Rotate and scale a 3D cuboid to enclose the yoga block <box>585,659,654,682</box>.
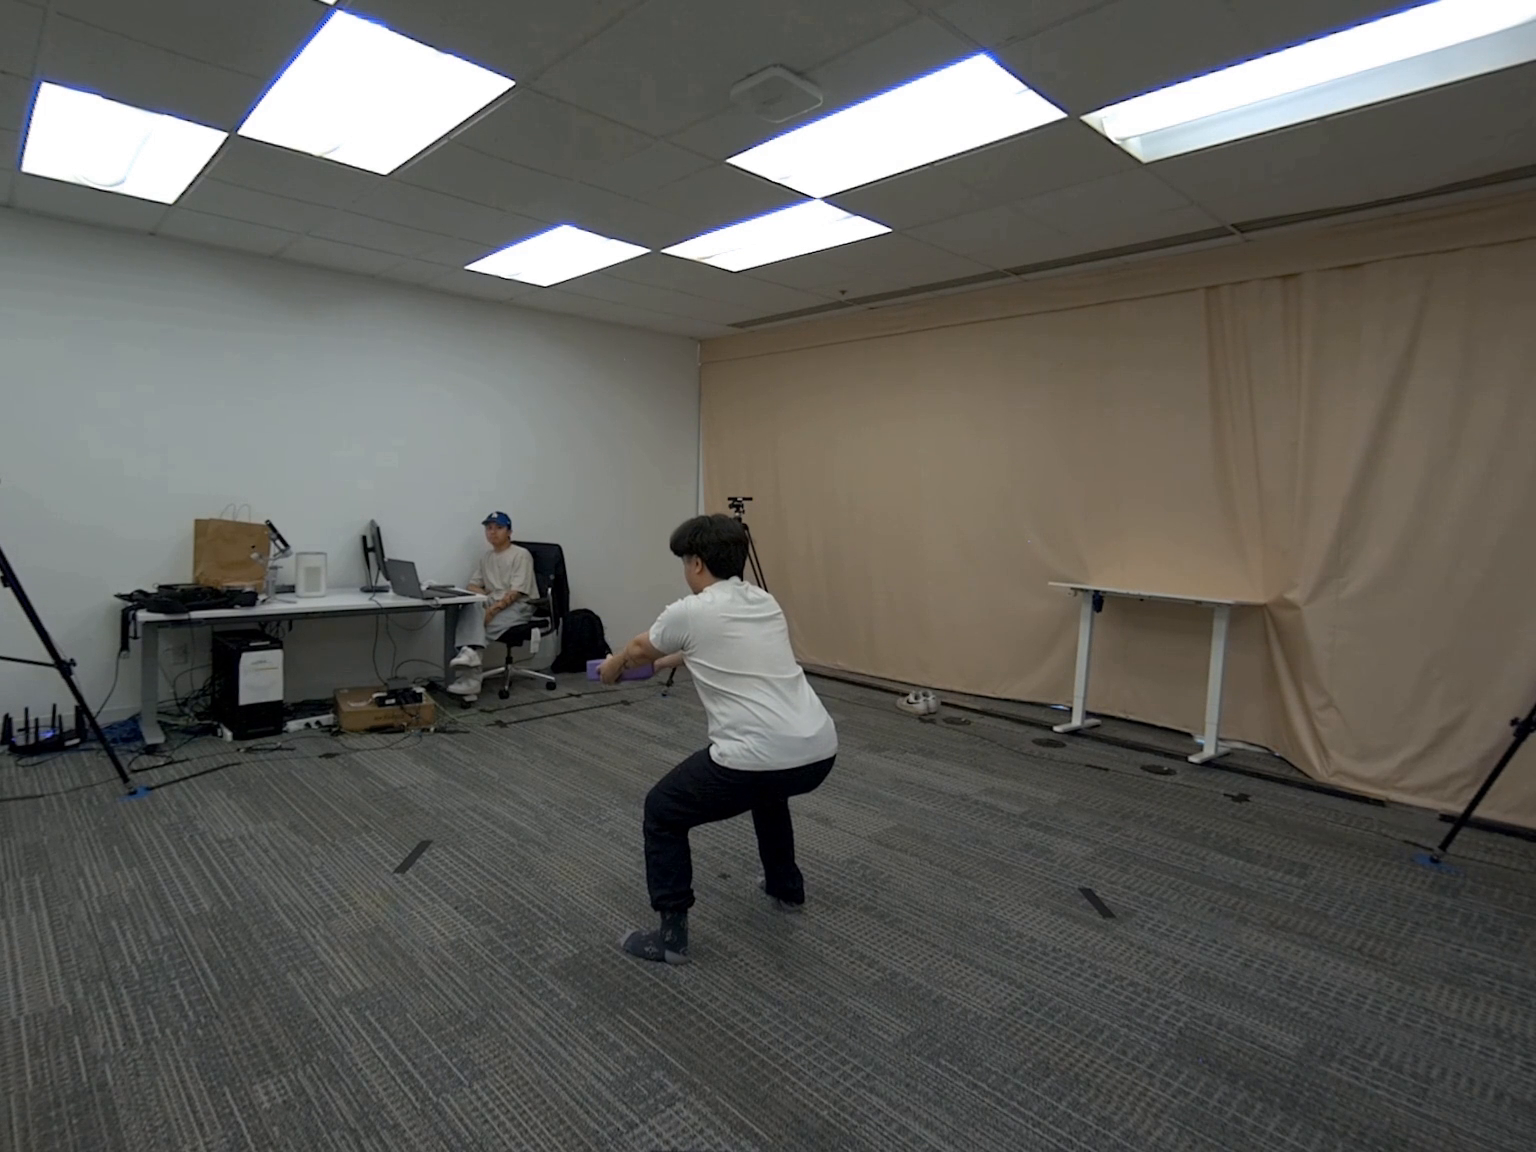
[{"bbox_3d":[-0.568,0.339,3.196,0.234,0.076,0.145,-5,-3,41],"label":"yoga block"}]
